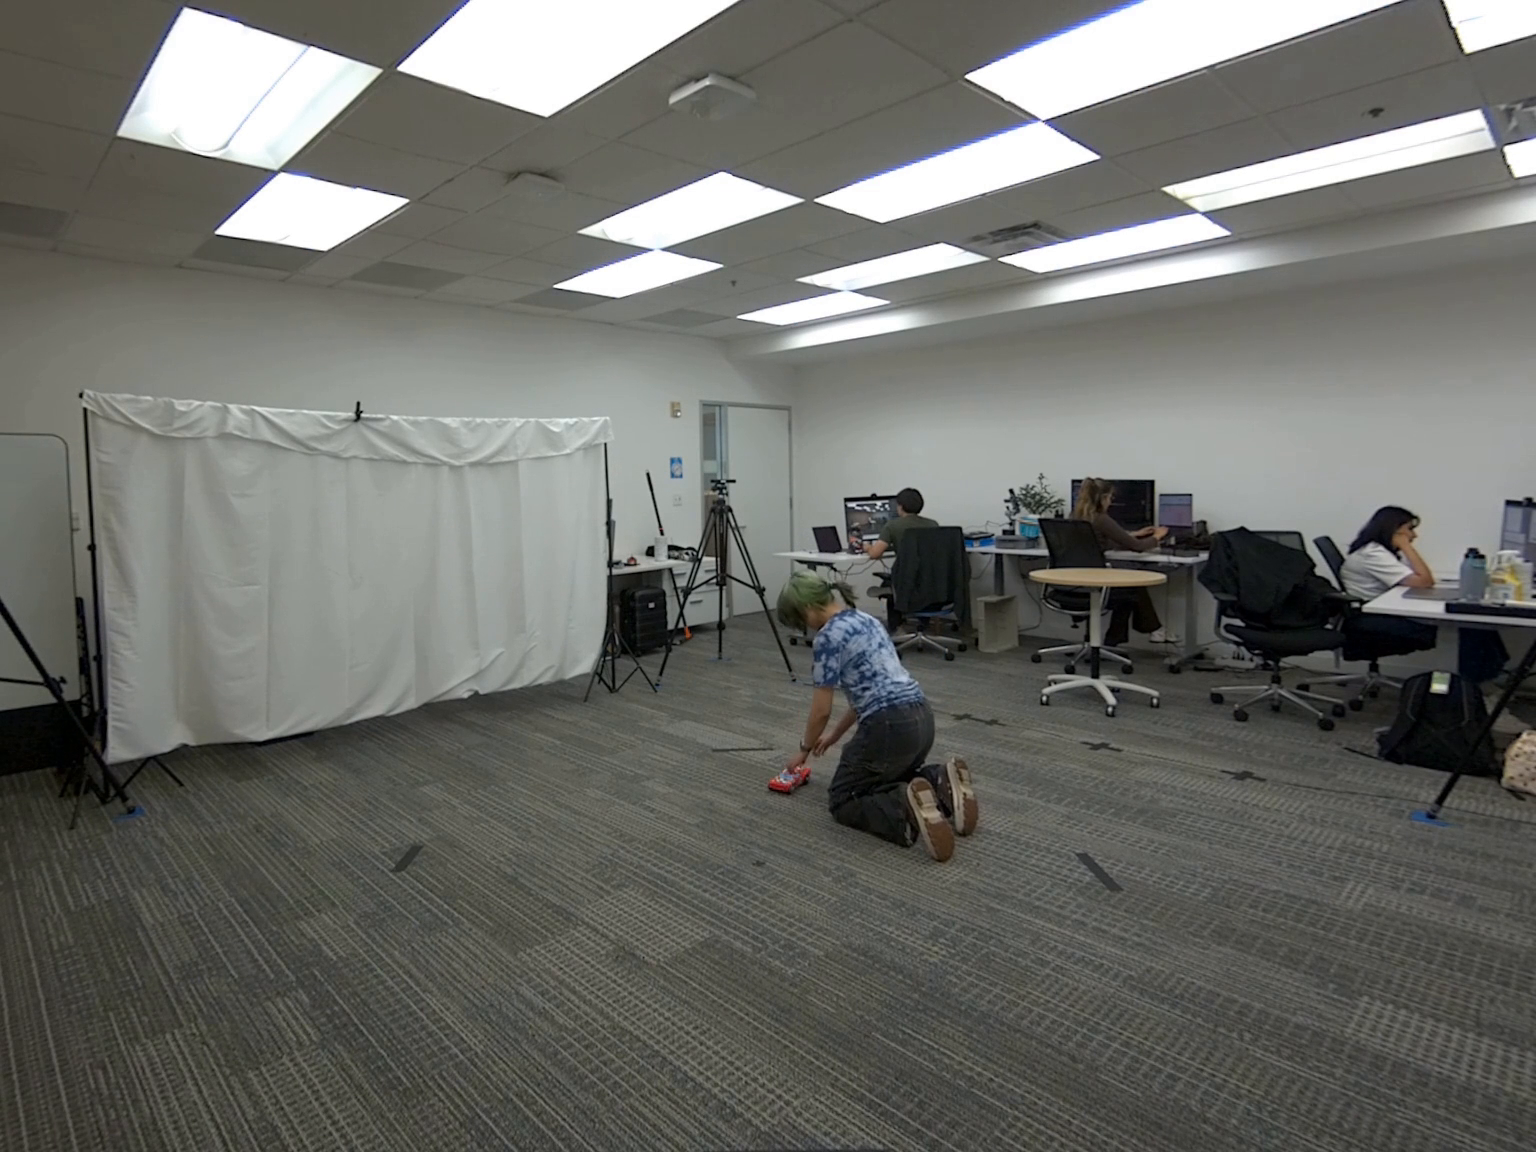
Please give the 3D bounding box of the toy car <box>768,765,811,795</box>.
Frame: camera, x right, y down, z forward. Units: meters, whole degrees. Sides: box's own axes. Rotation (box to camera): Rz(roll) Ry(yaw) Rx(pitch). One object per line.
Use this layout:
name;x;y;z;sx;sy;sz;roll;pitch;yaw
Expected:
toy car;0.105;0.925;3.896;0.134;0.082;0.251;2;16;31
